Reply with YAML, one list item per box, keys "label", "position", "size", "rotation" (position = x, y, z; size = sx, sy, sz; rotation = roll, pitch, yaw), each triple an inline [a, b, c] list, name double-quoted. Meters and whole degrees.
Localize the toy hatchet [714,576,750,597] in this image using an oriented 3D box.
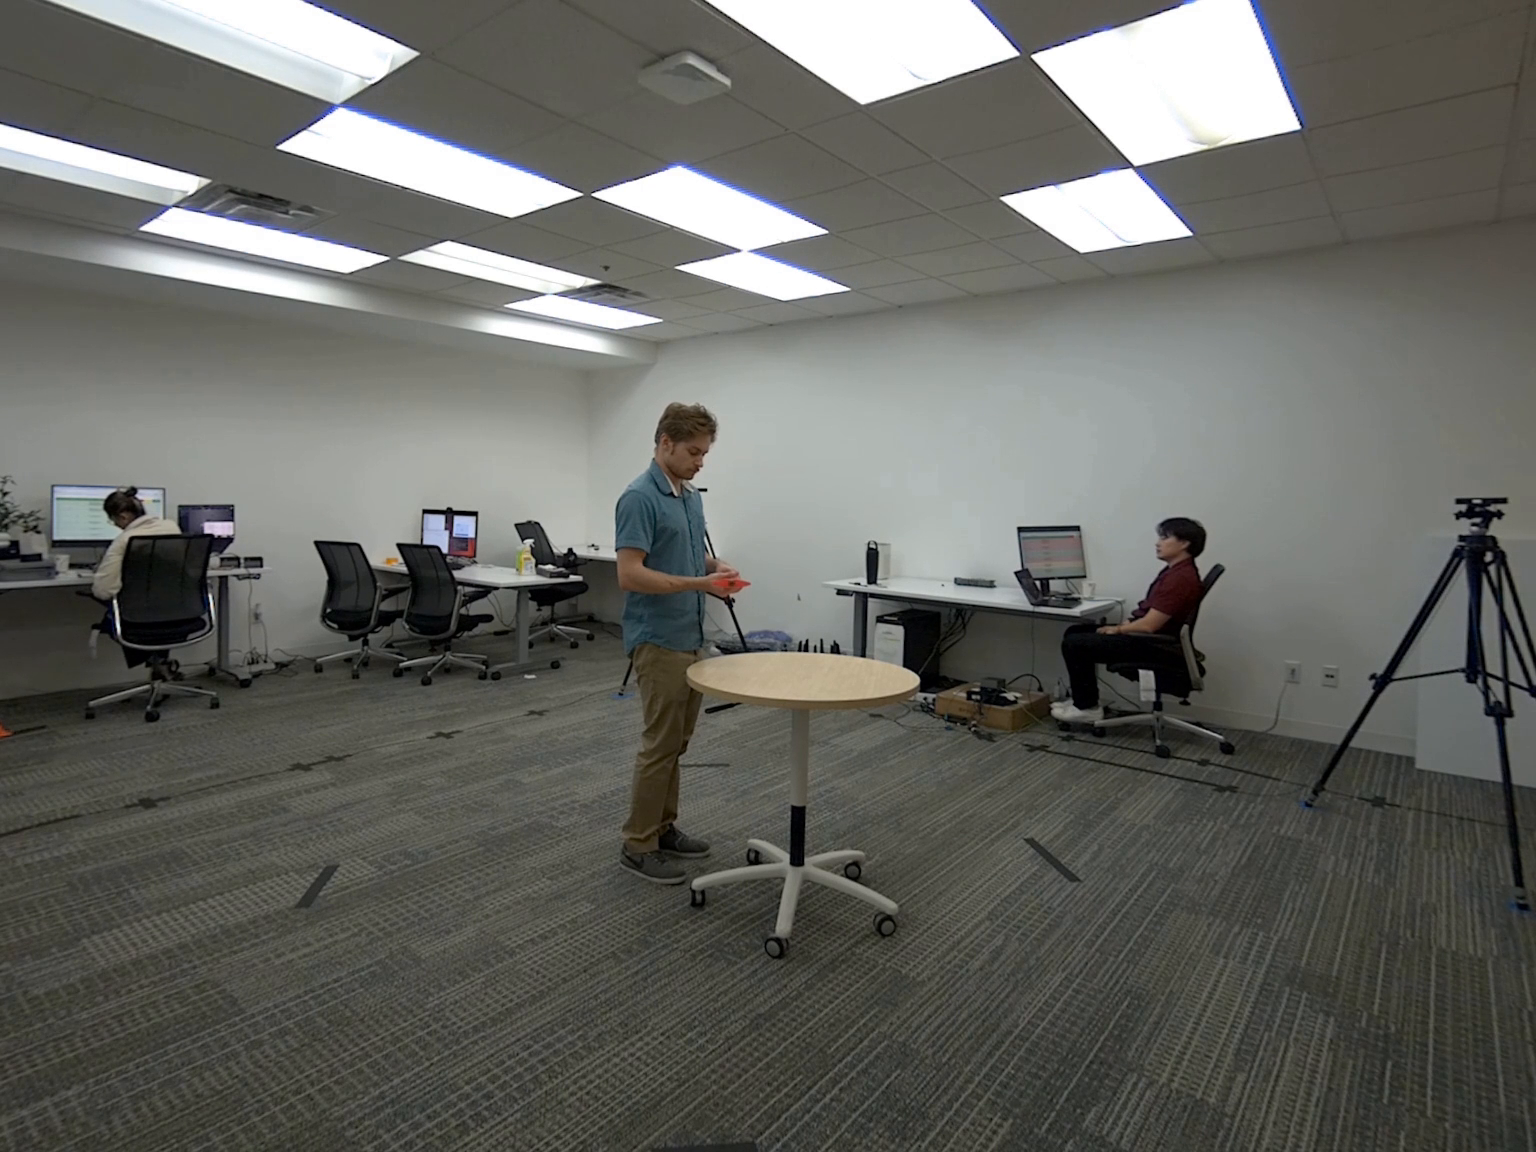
- label: "toy hatchet"
  position: [-0.129, 0.017, 2.964]
  size: [0.133, 0.029, 0.267]
  rotation: [0, 4, 13]
